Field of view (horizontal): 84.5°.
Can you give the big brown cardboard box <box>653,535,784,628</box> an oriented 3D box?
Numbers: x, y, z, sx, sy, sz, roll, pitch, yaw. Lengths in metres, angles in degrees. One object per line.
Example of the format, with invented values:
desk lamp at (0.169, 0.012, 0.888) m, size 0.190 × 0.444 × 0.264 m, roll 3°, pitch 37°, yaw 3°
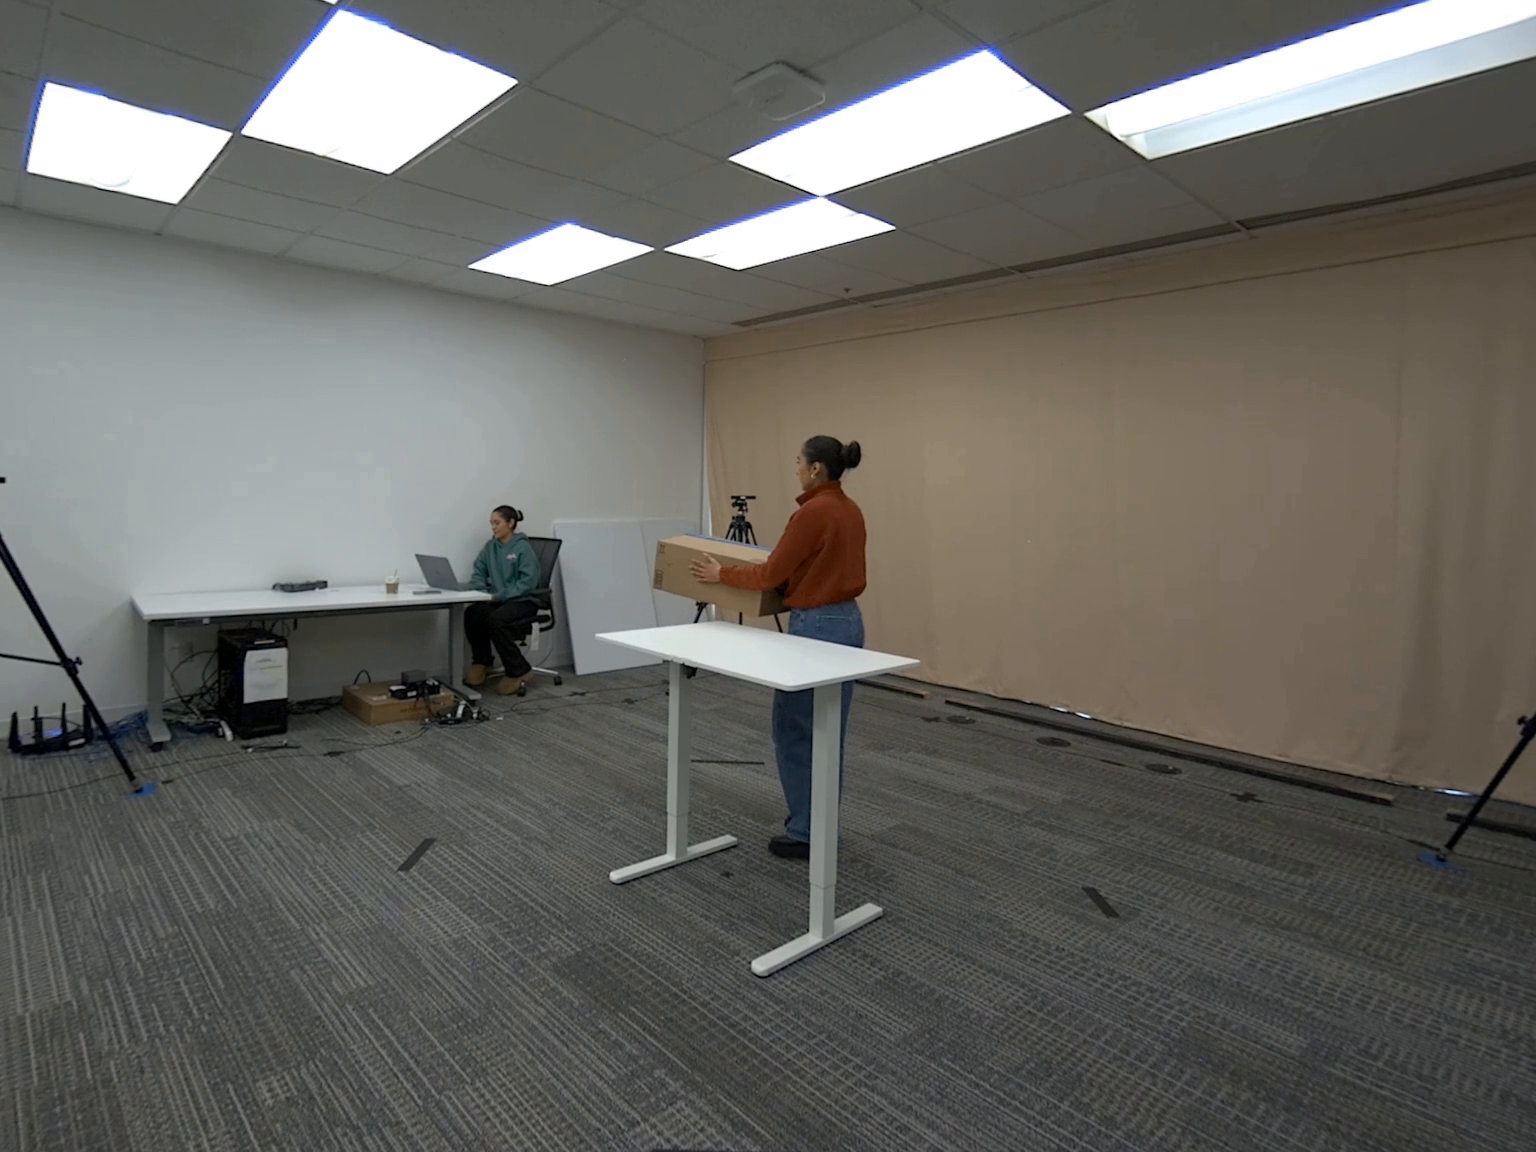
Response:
big brown cardboard box at (-0.149, -0.011, 3.639) m, size 0.604 × 0.232 × 0.409 m, roll 12°, pitch 10°, yaw 33°
